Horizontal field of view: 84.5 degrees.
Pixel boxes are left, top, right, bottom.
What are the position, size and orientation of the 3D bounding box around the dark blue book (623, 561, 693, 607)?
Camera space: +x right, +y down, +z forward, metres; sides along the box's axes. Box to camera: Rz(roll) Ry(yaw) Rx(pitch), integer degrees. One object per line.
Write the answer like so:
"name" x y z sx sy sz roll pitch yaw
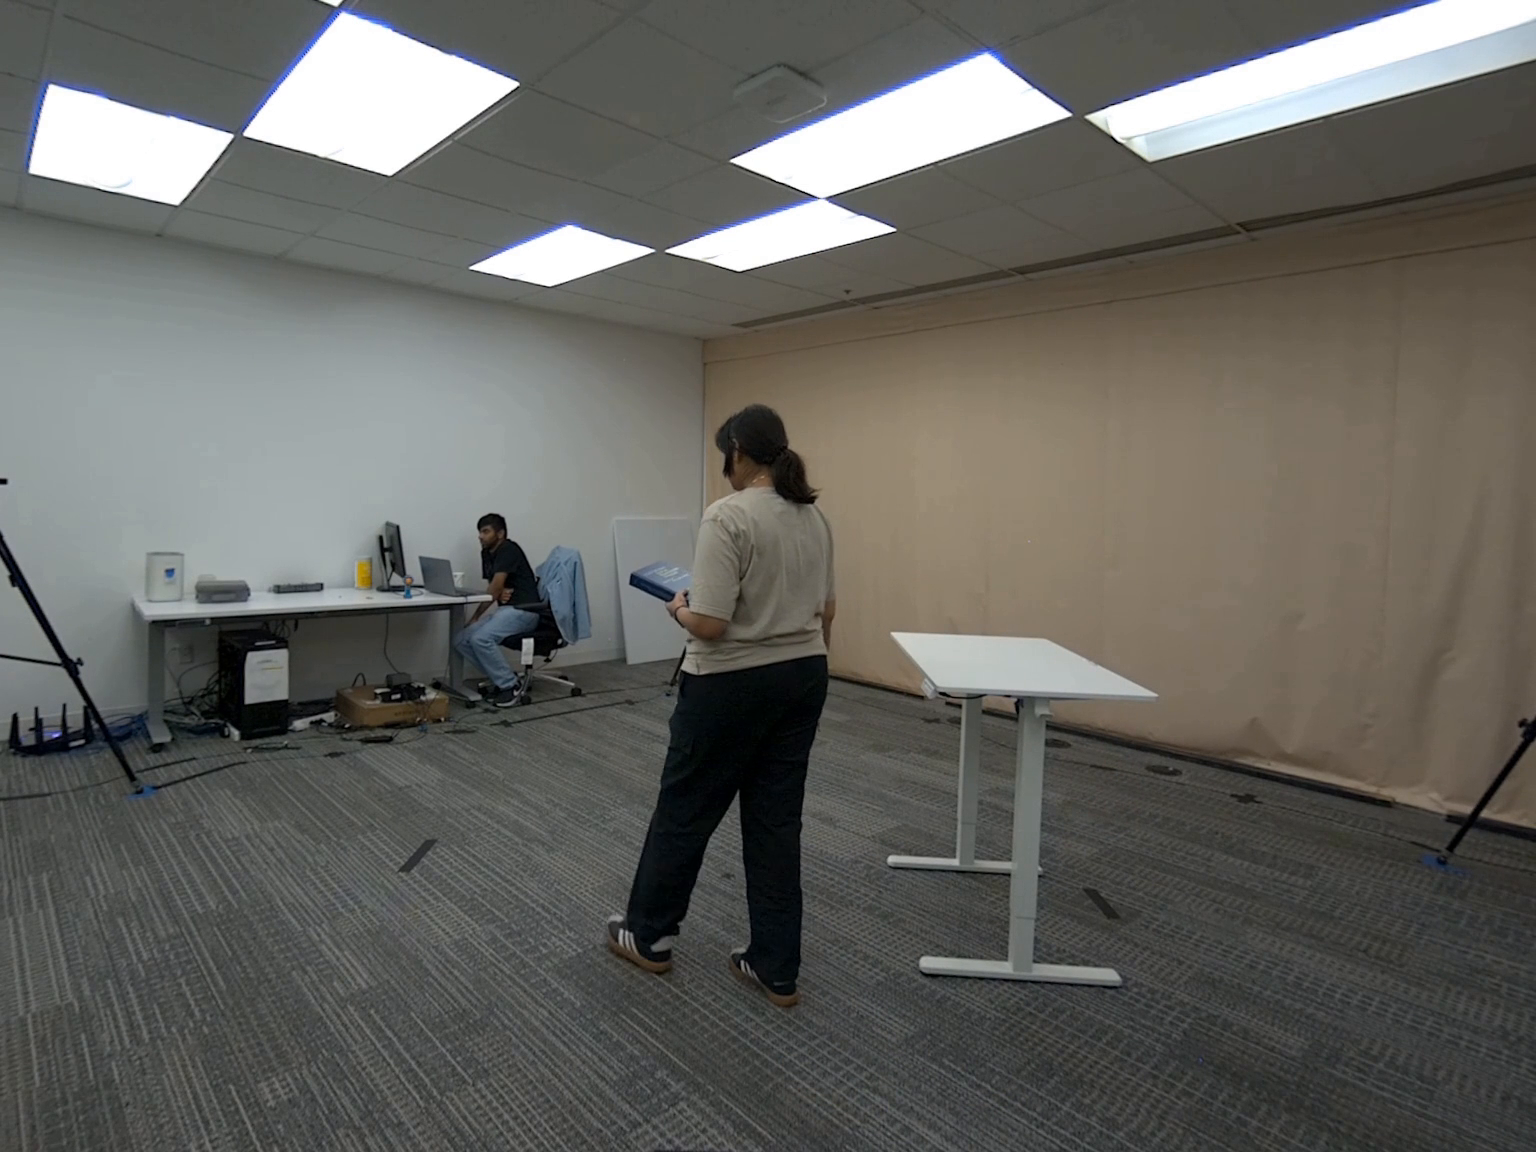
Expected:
"dark blue book" -0.297 0.033 2.590 0.251 0.044 0.161 22 25 27
